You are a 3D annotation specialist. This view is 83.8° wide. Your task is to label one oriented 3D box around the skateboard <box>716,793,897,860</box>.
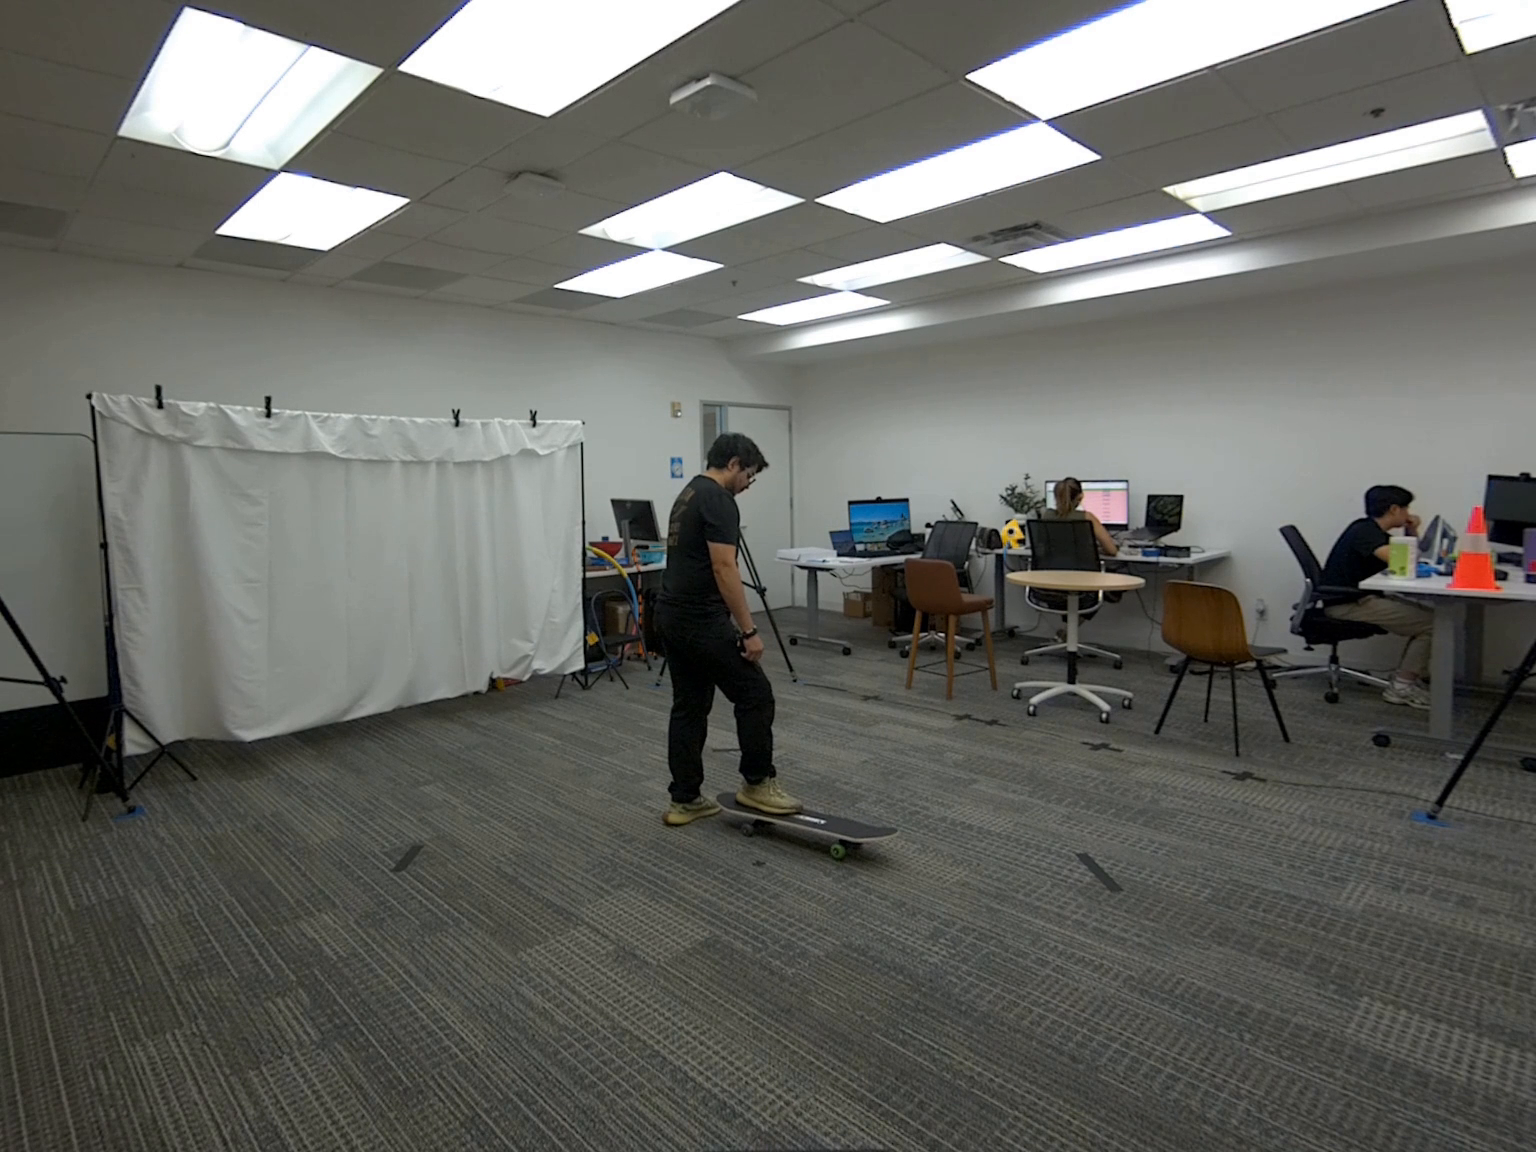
[{"bbox_3d":[0.139,0.970,3.296,0.807,0.110,0.188,1,1,35],"label":"skateboard"}]
